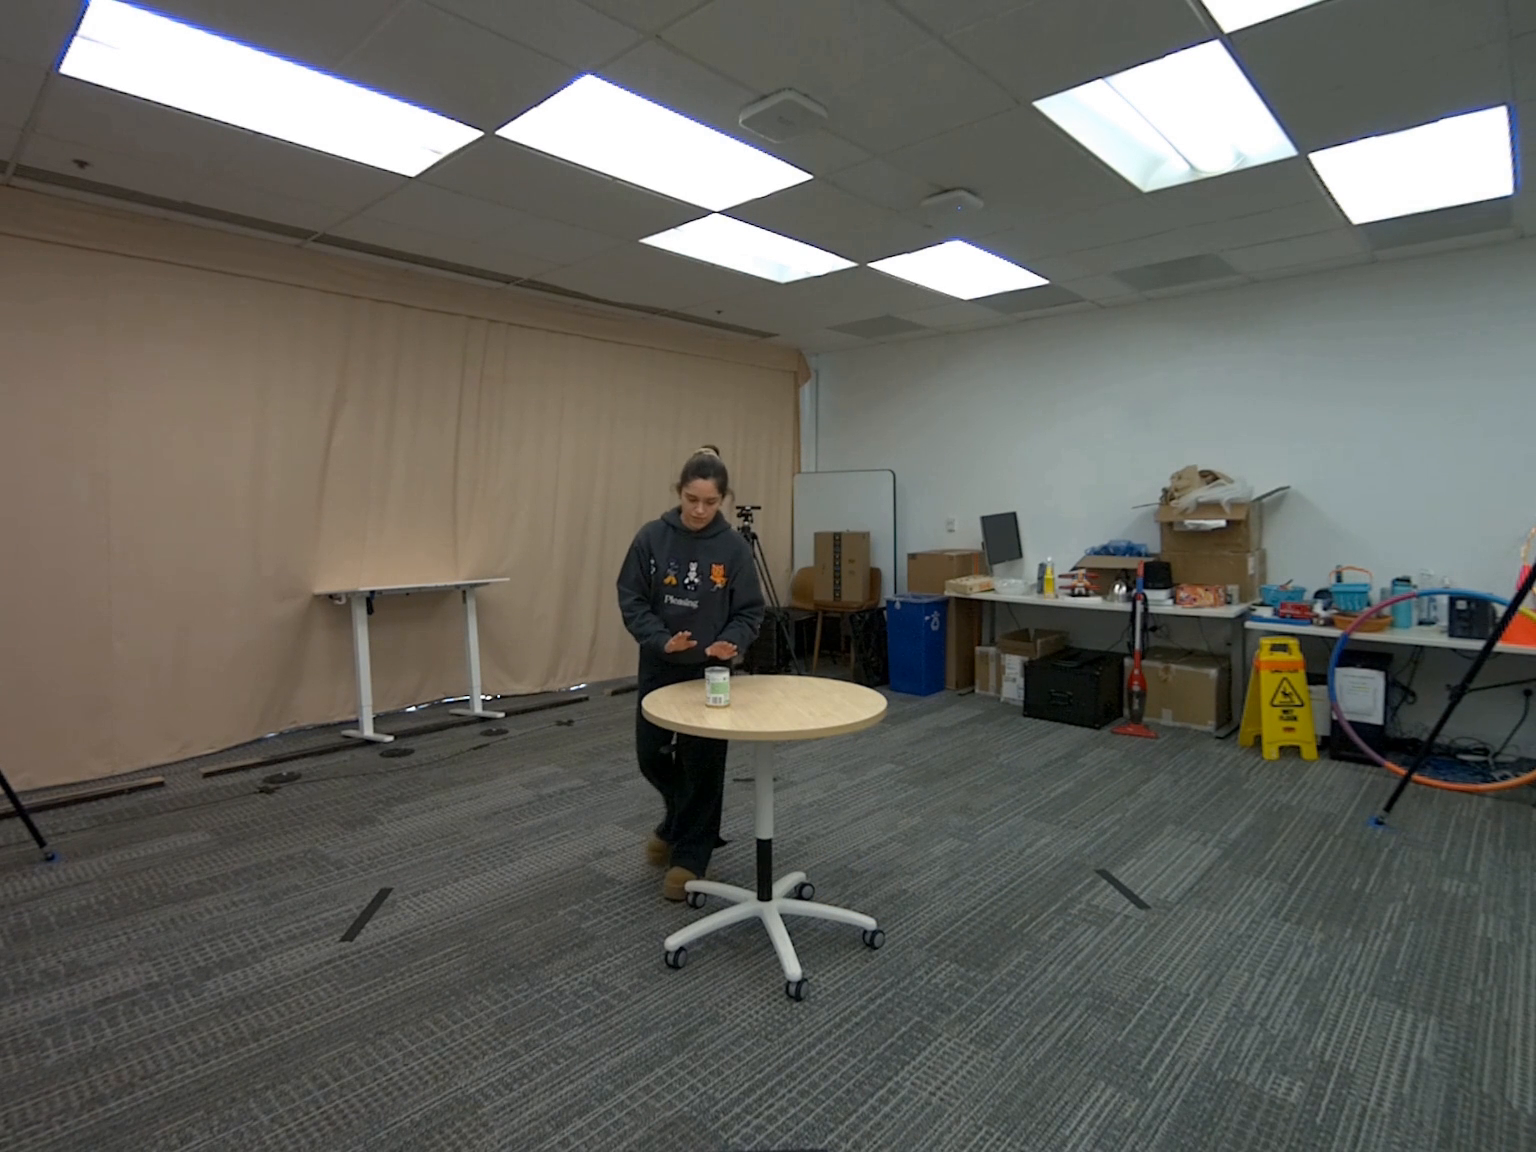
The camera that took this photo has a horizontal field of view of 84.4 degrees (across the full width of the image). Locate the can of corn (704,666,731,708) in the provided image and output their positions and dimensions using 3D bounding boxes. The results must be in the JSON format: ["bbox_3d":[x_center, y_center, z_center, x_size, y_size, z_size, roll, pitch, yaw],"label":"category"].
[{"bbox_3d":[-0.145,0.338,2.573,0.074,0.111,0.074,-1,4,-2],"label":"can of corn"}]
